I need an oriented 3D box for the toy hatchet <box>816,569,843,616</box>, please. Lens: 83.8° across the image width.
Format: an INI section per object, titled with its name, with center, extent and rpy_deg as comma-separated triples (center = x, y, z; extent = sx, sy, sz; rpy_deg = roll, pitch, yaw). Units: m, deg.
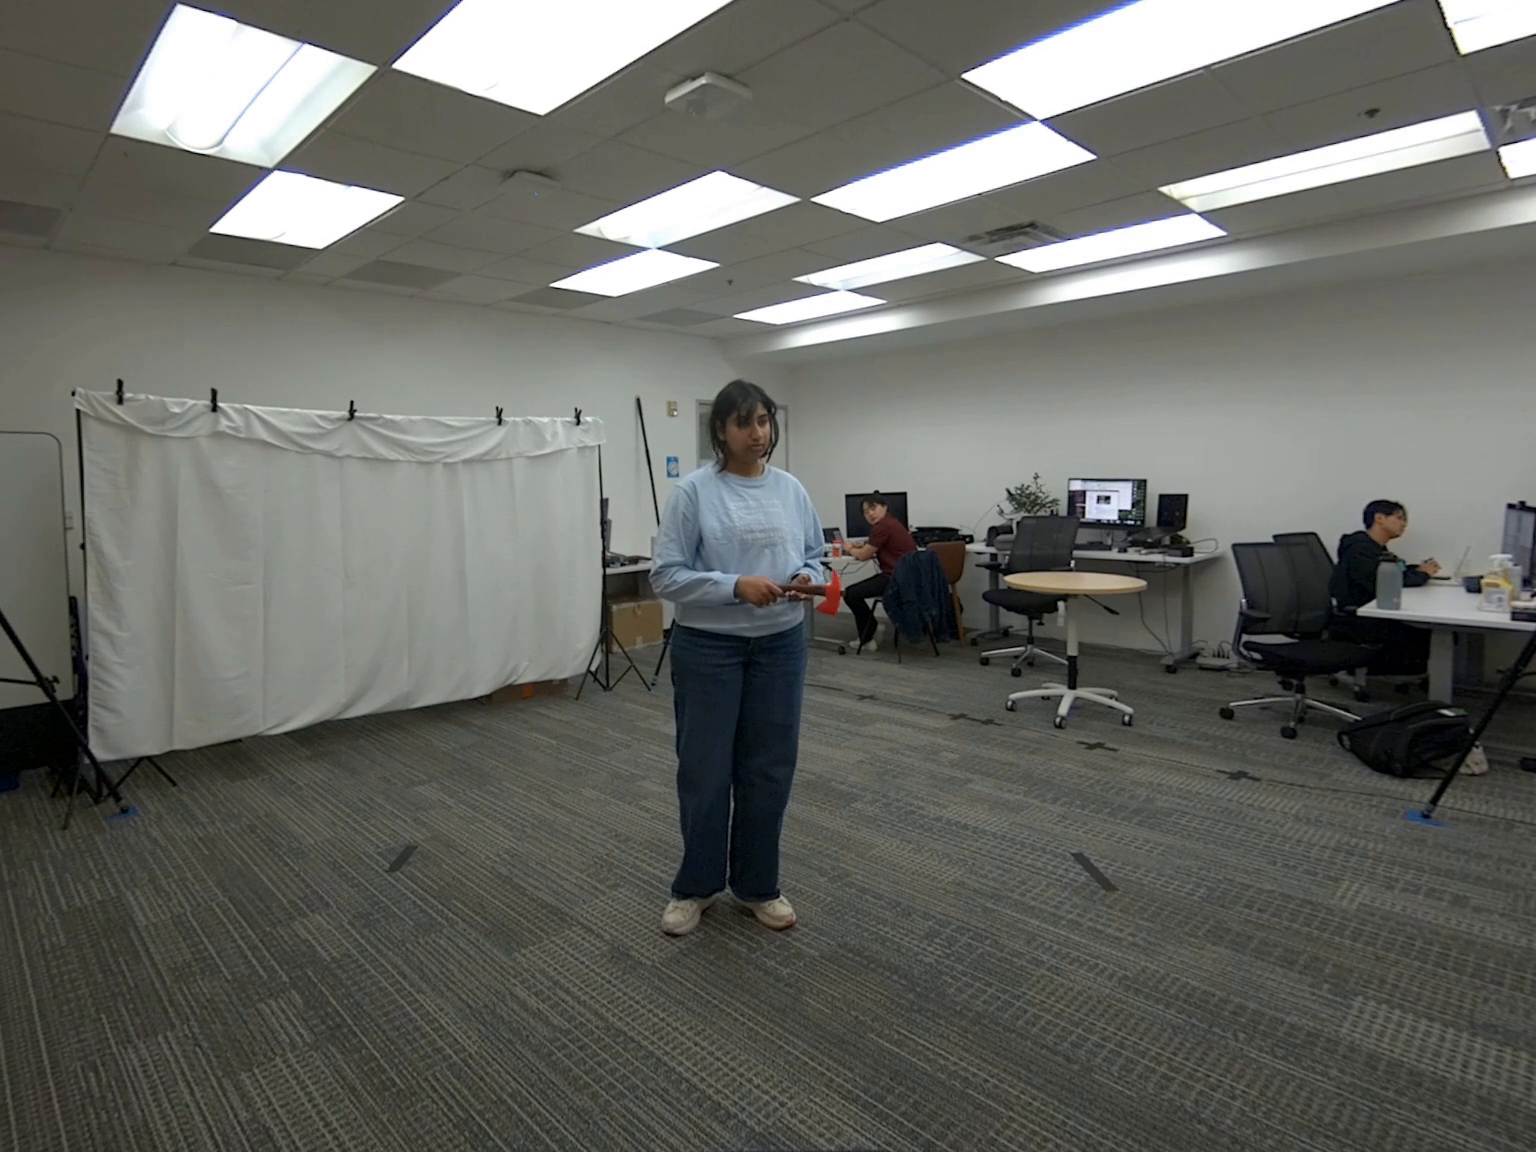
[toy hatchet]
center = 0.079, 0.072, 2.434
extent = 0.274, 0.129, 0.029
rpy_deg = -14, 11, 22
